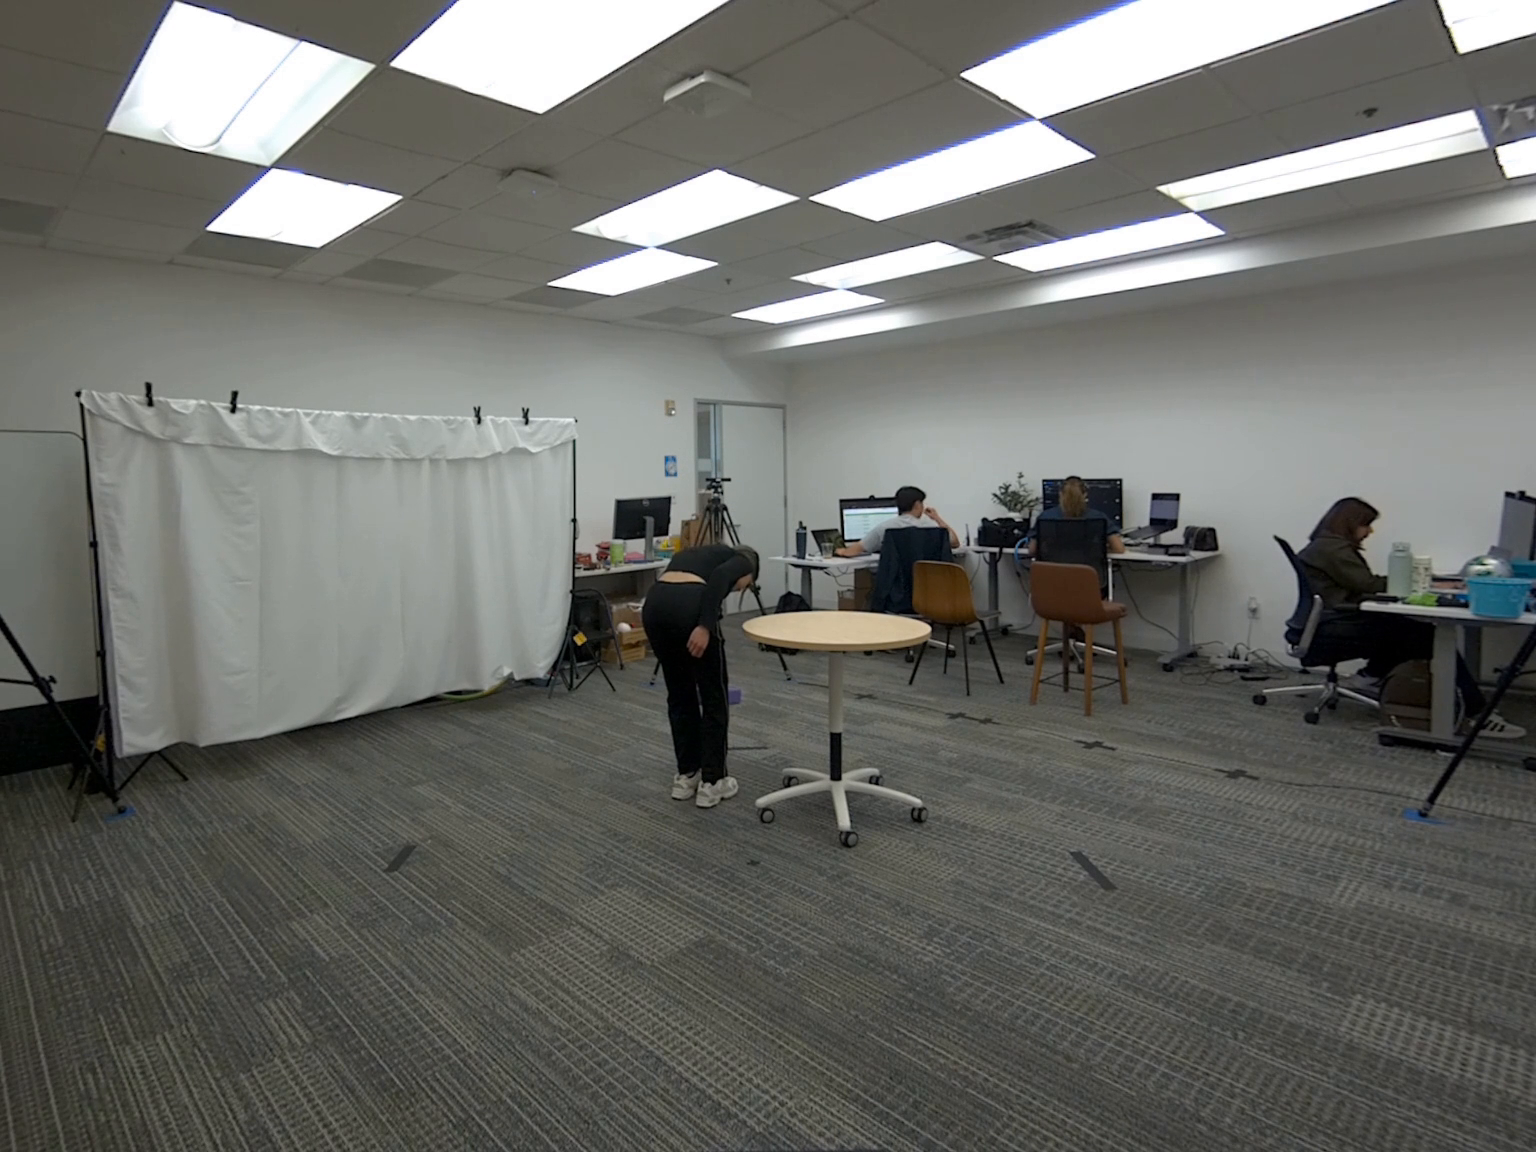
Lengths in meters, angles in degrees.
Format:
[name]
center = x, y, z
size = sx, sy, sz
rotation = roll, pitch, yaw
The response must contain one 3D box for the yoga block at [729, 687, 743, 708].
[yoga block]
center = -0.245, 0.576, 4.085
size = 0.153, 0.077, 0.223
rotation = 2, -4, 28
